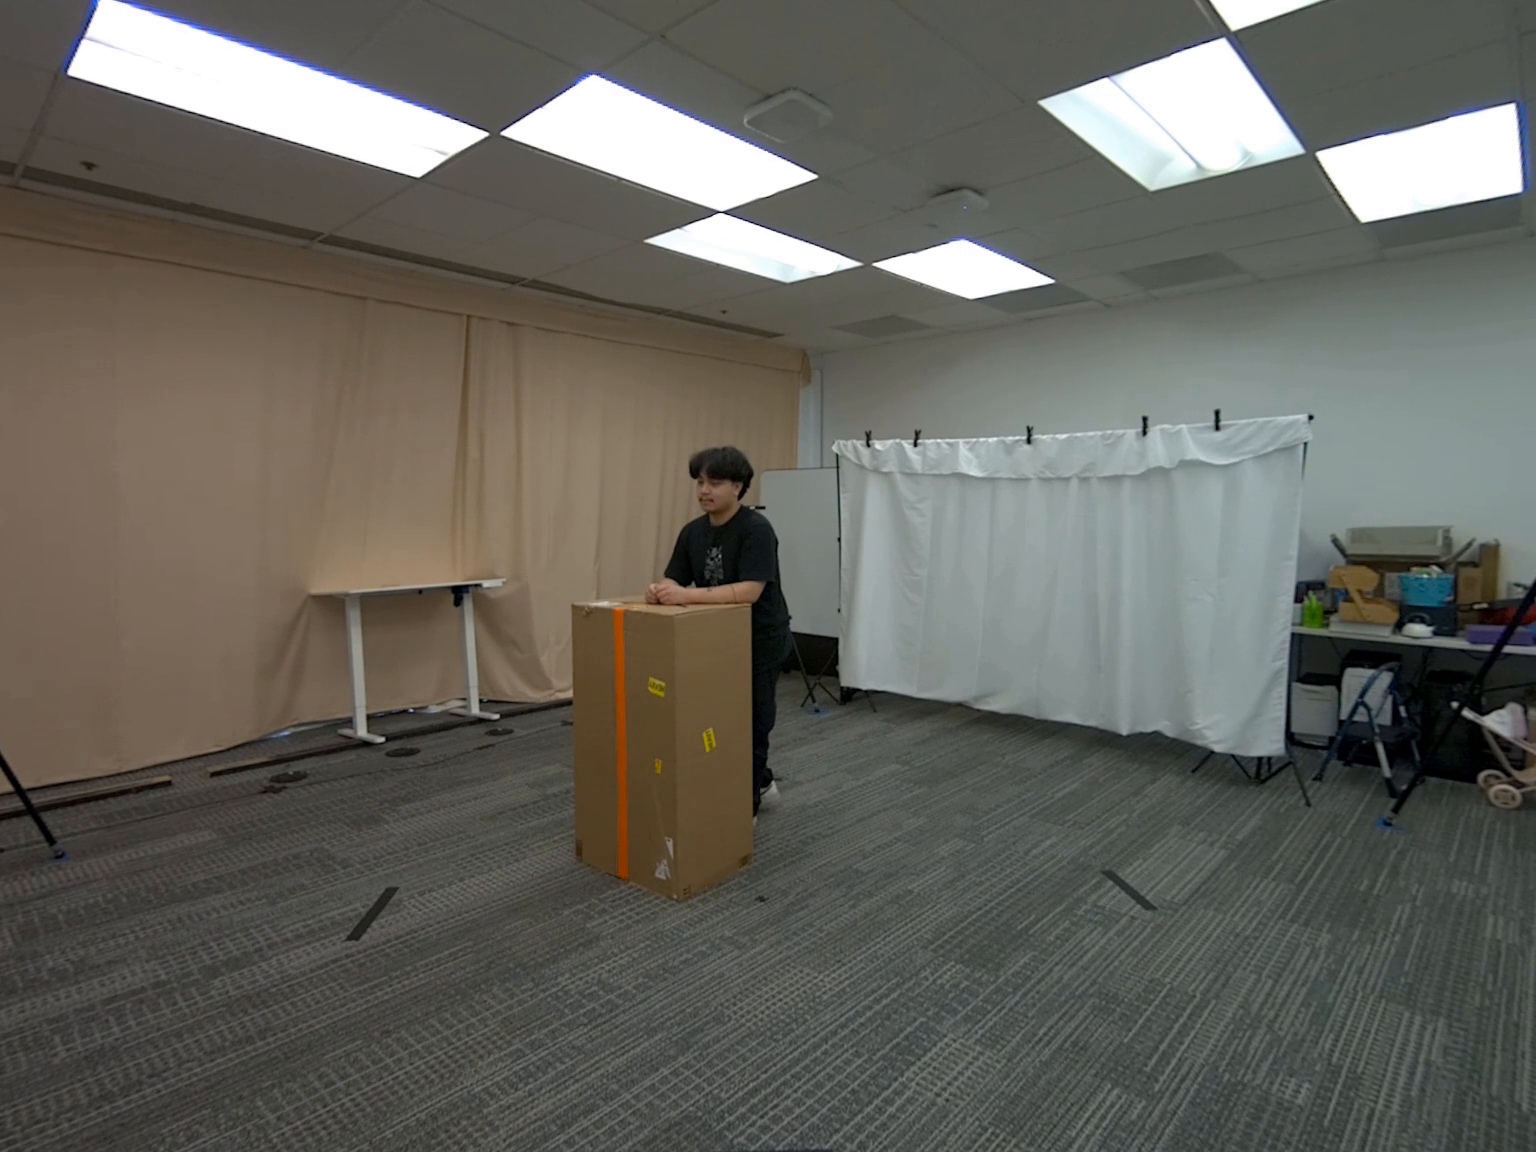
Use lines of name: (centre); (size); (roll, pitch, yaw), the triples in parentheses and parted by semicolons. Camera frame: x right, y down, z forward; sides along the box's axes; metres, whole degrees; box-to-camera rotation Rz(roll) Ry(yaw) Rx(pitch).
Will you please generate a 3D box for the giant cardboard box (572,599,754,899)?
giant cardboard box: (-0.419, 0.613, 3.281); (0.603, 1.025, 0.433); (2, 4, 41)
